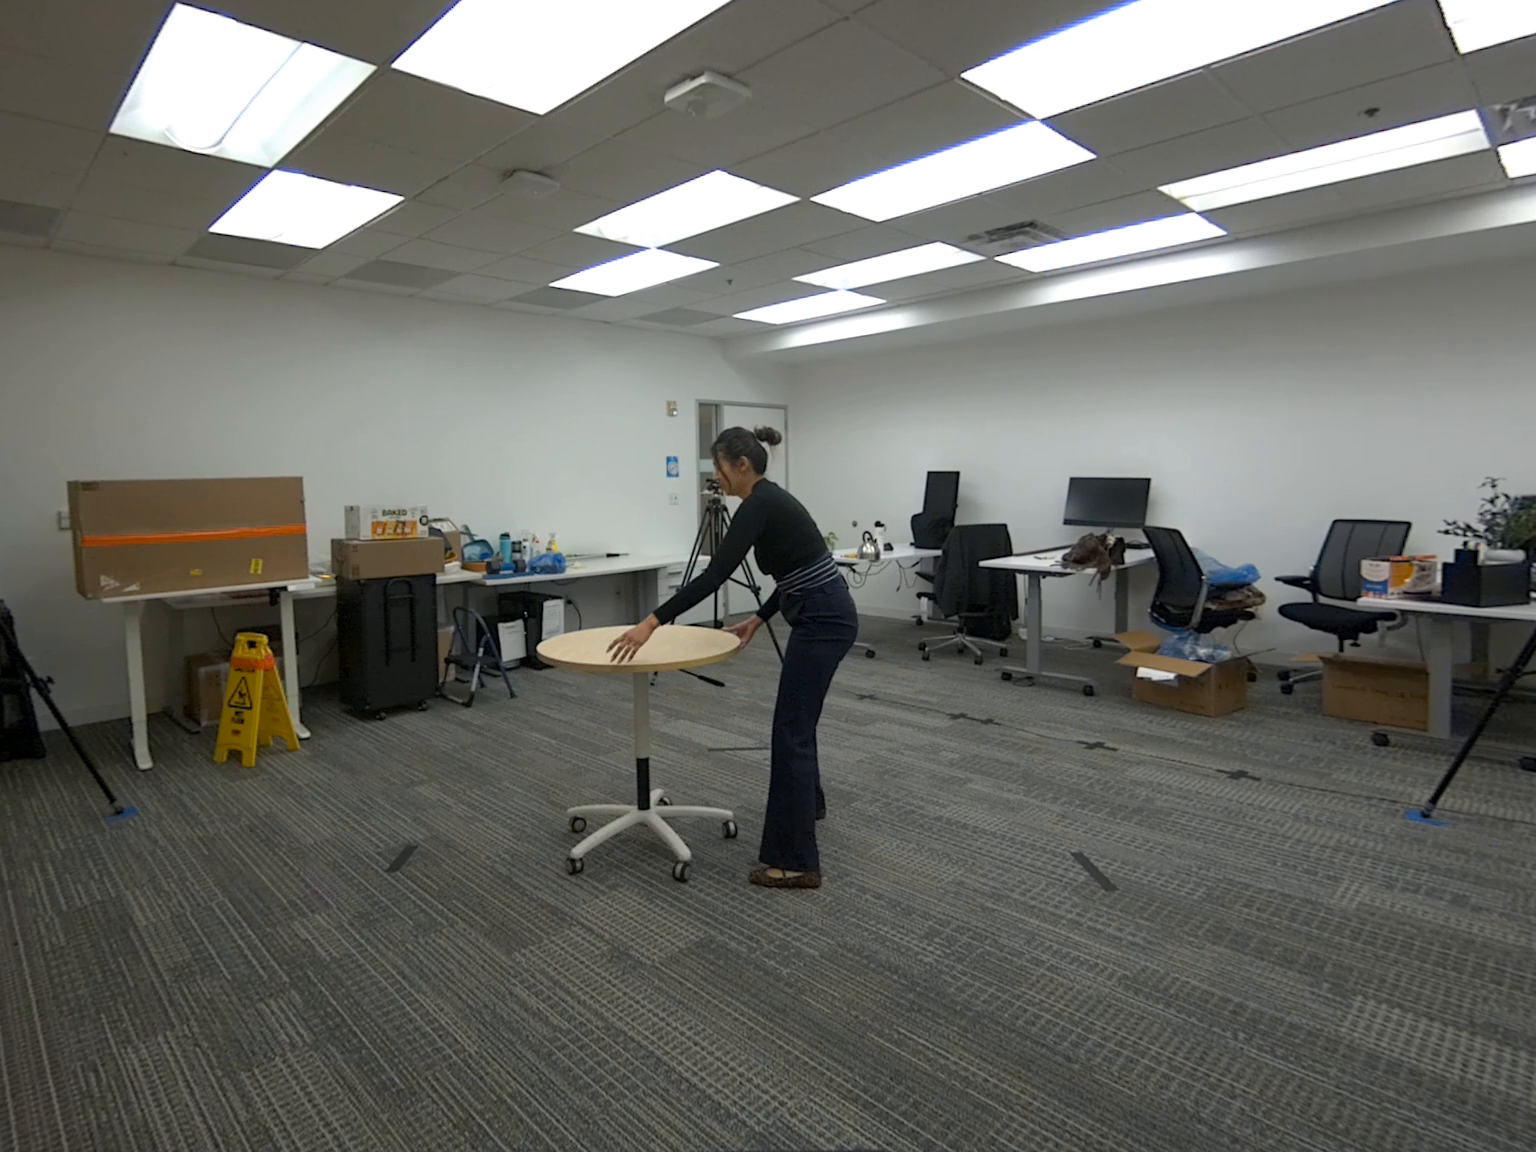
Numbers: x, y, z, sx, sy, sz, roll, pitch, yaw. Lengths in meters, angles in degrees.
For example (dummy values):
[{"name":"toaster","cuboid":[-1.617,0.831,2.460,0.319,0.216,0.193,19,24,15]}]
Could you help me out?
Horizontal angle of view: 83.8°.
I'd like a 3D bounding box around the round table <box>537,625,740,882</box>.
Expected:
[{"name":"round table","cuboid":[-0.472,0.643,3.256,0.763,0.791,0.768,-1,5,-2]}]
